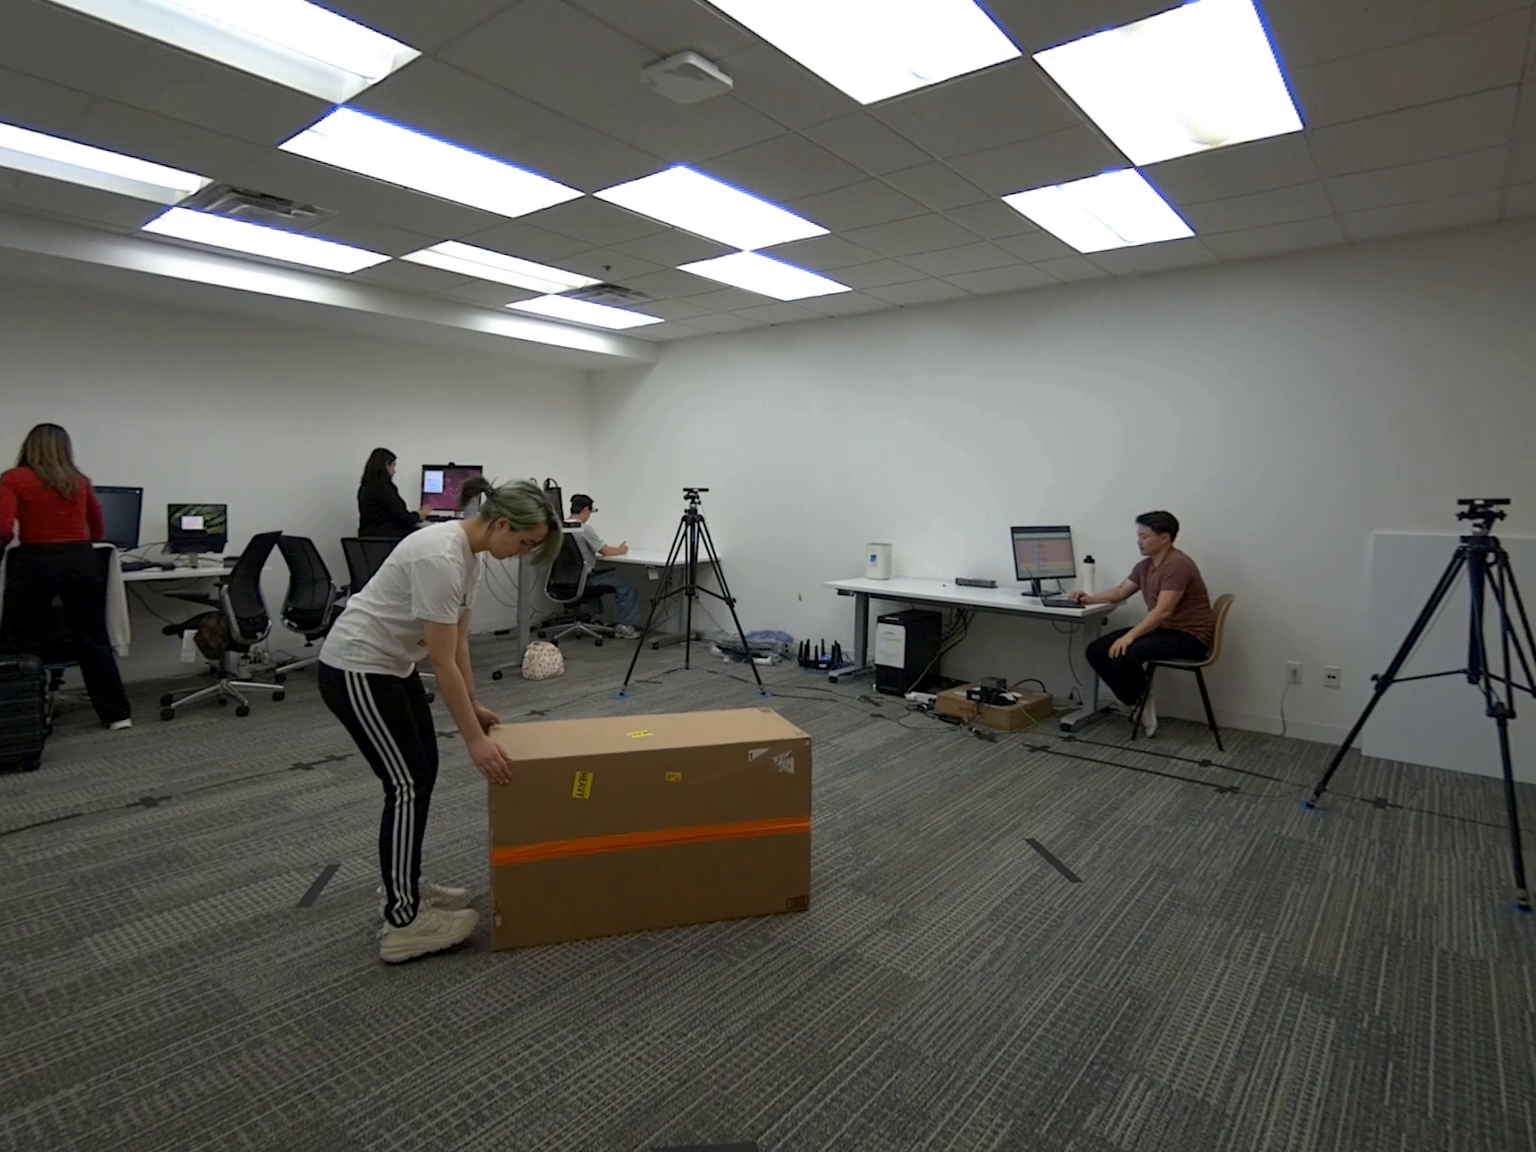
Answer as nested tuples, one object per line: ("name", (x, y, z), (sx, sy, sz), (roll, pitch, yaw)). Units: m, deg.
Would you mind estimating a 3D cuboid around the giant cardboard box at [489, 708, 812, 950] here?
("giant cardboard box", (-0.415, 0.801, 2.858), (1.008, 0.582, 0.457), (-1, 5, -18))
